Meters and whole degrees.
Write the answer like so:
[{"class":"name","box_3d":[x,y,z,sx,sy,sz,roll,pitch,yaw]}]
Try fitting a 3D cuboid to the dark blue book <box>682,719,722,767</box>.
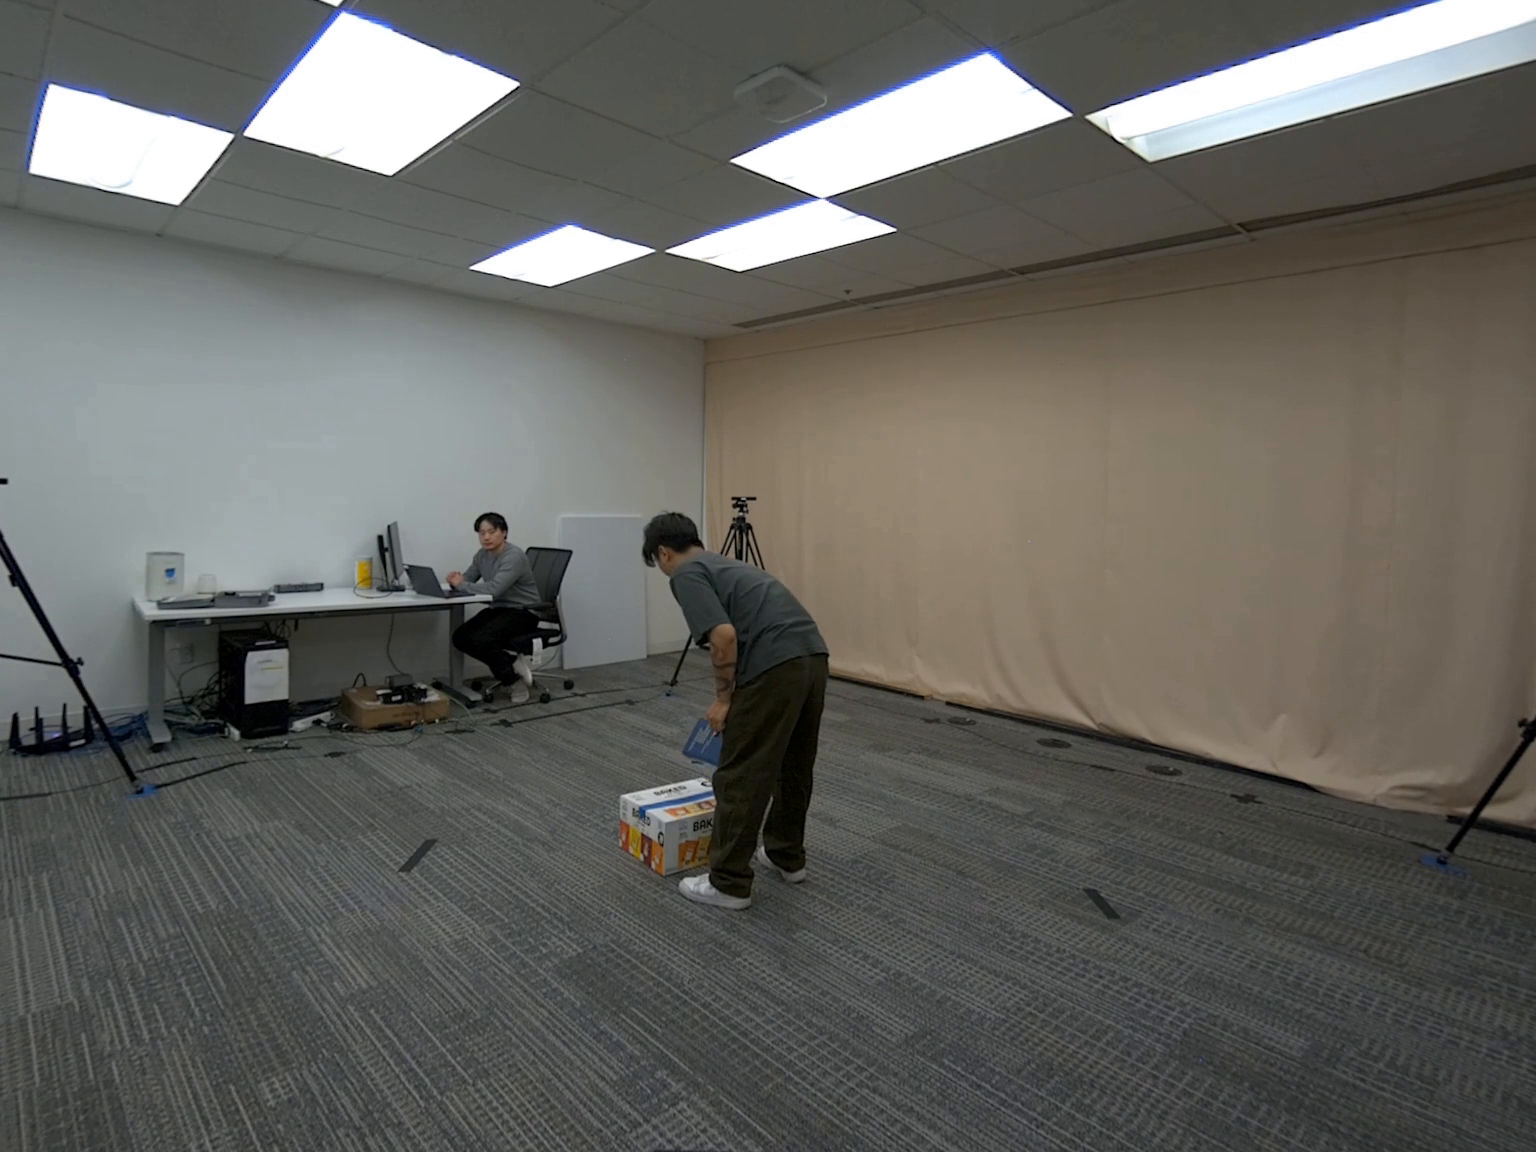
[{"class":"dark blue book","box_3d":[-0.229,0.667,3.347,0.251,0.164,0.044,8,-29,47]}]
